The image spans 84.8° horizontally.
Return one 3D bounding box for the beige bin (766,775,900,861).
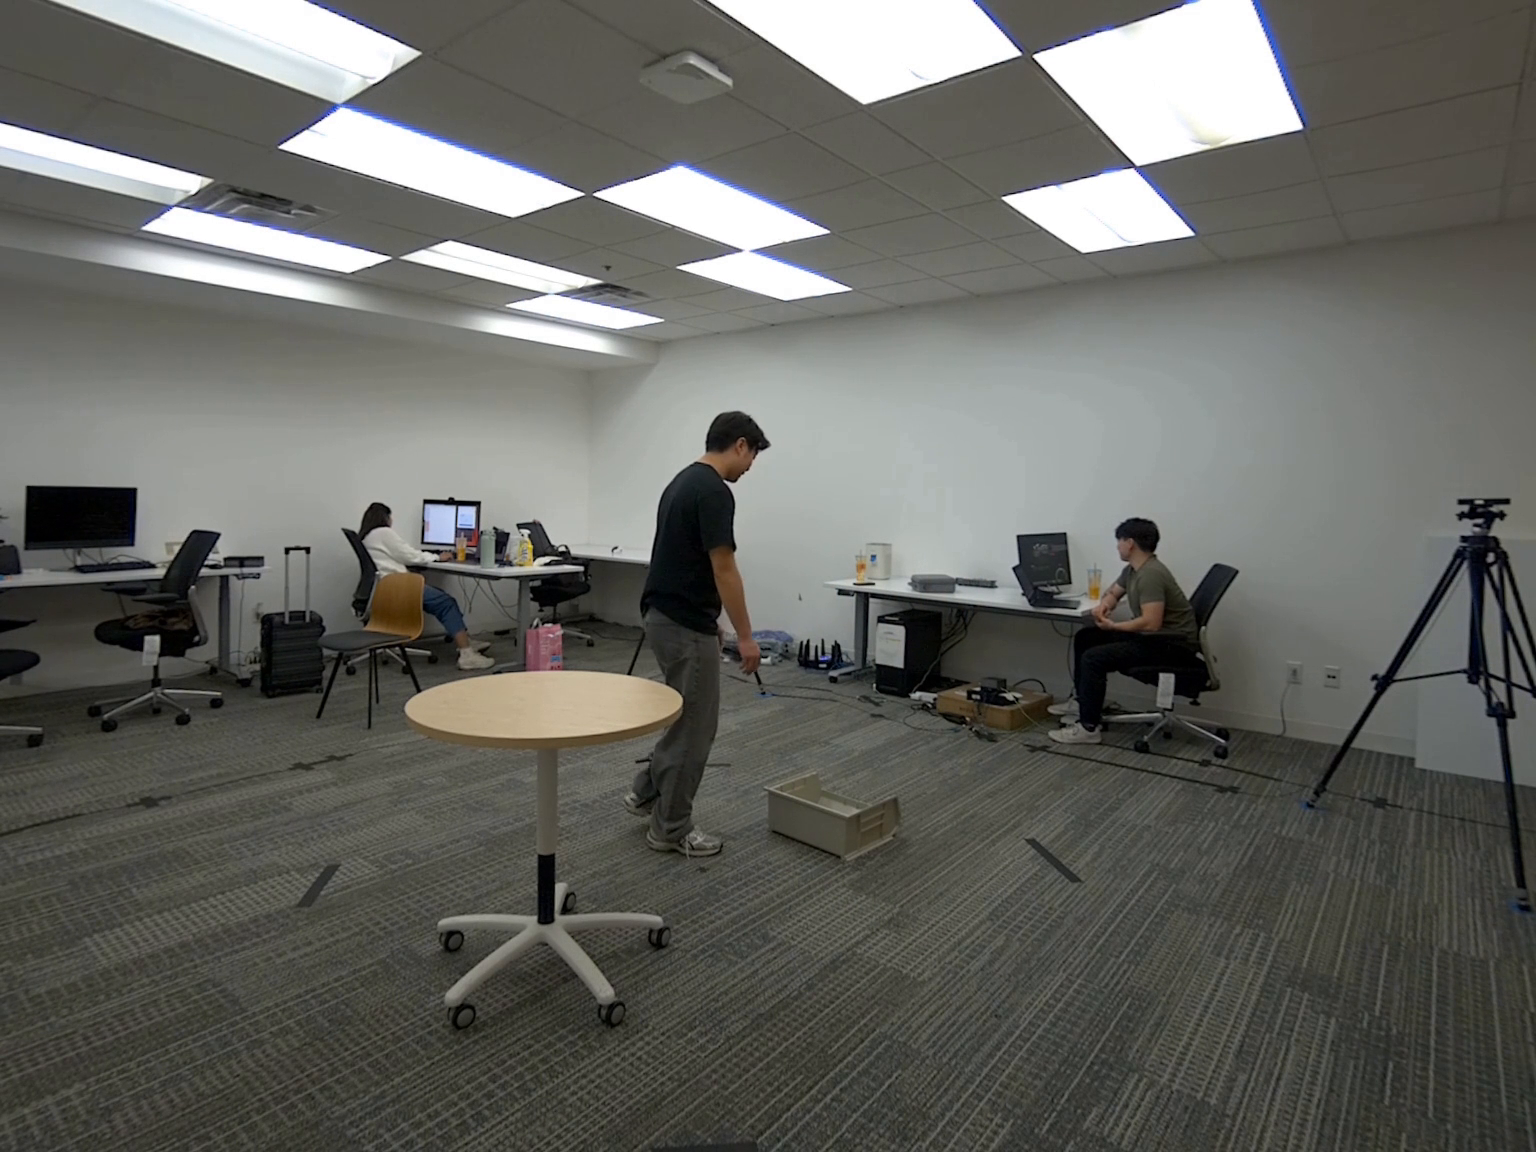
[{"bbox_3d":[0.256,0.961,3.458,0.437,0.188,0.366,6,8,42],"label":"beige bin"}]
